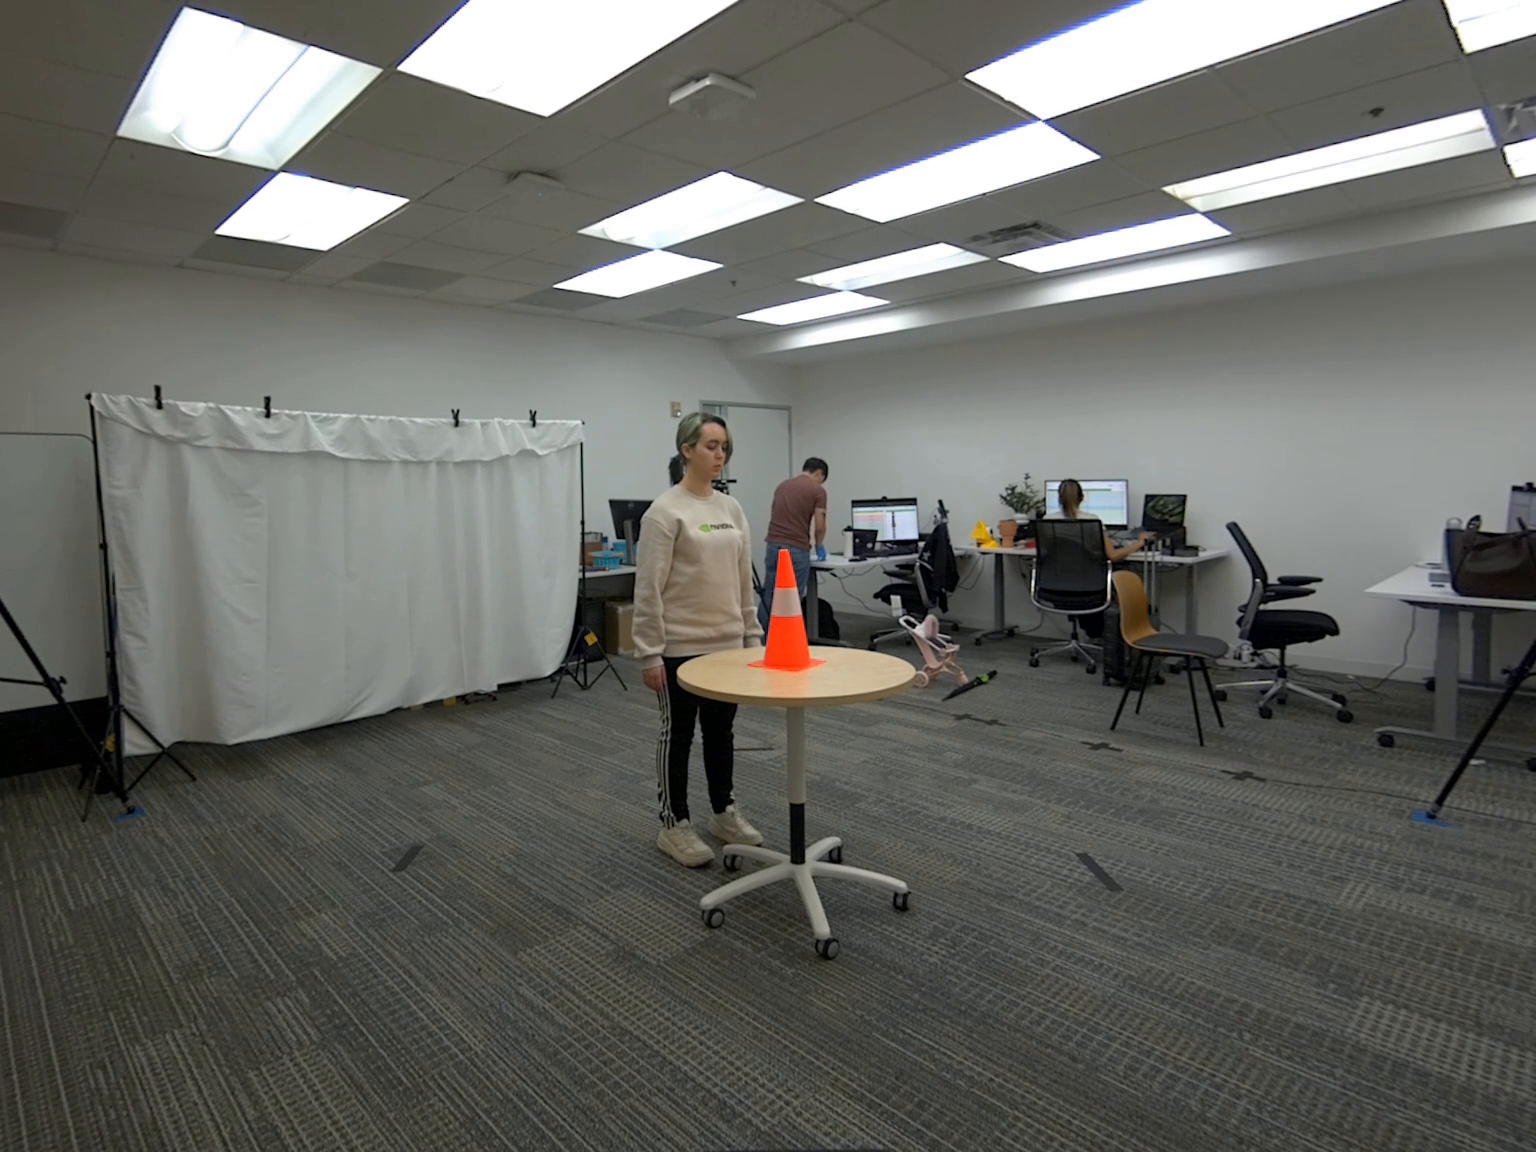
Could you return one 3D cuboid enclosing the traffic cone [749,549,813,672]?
[{"bbox_3d":[0.062,0.106,2.831,0.209,0.382,0.200,1,5,36],"label":"traffic cone"}]
